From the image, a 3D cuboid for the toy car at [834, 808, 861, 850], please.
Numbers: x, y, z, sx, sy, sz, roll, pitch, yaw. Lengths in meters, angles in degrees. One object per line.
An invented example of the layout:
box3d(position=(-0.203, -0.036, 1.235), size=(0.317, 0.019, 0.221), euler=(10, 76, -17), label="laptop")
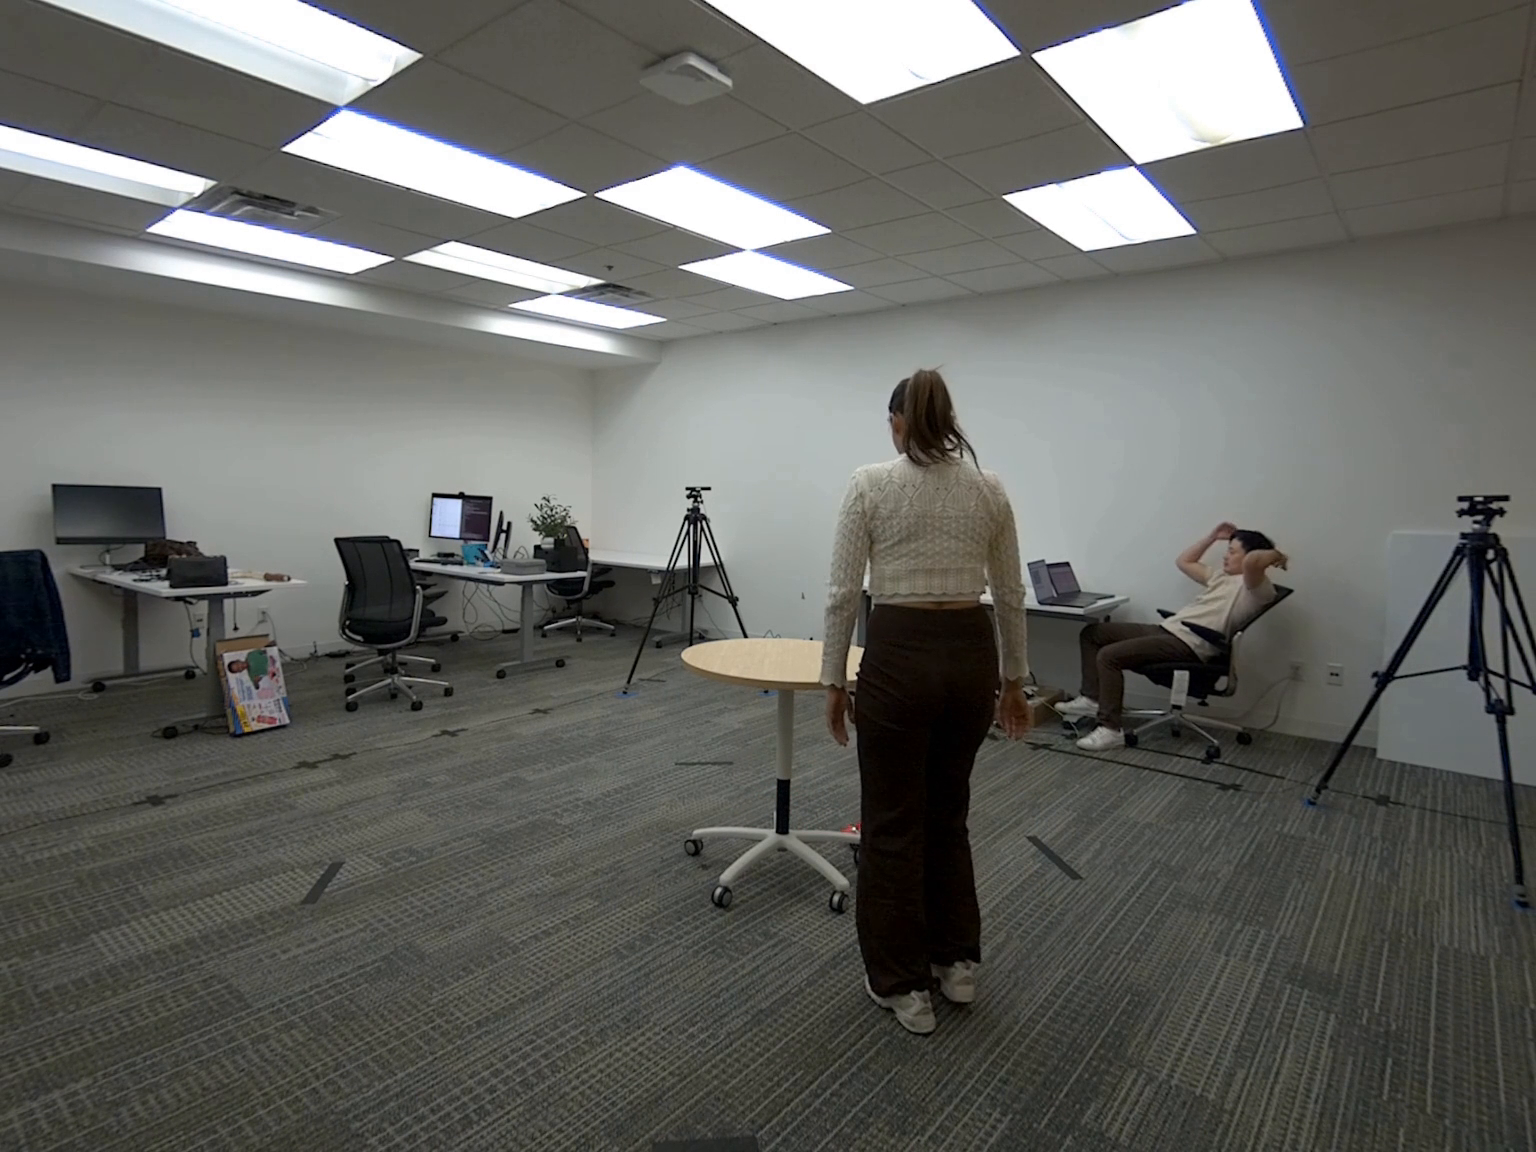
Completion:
box3d(position=(0.407, 1.021, 3.302), size=(0.263, 0.082, 0.127), euler=(16, 12, 31), label="toy car")
